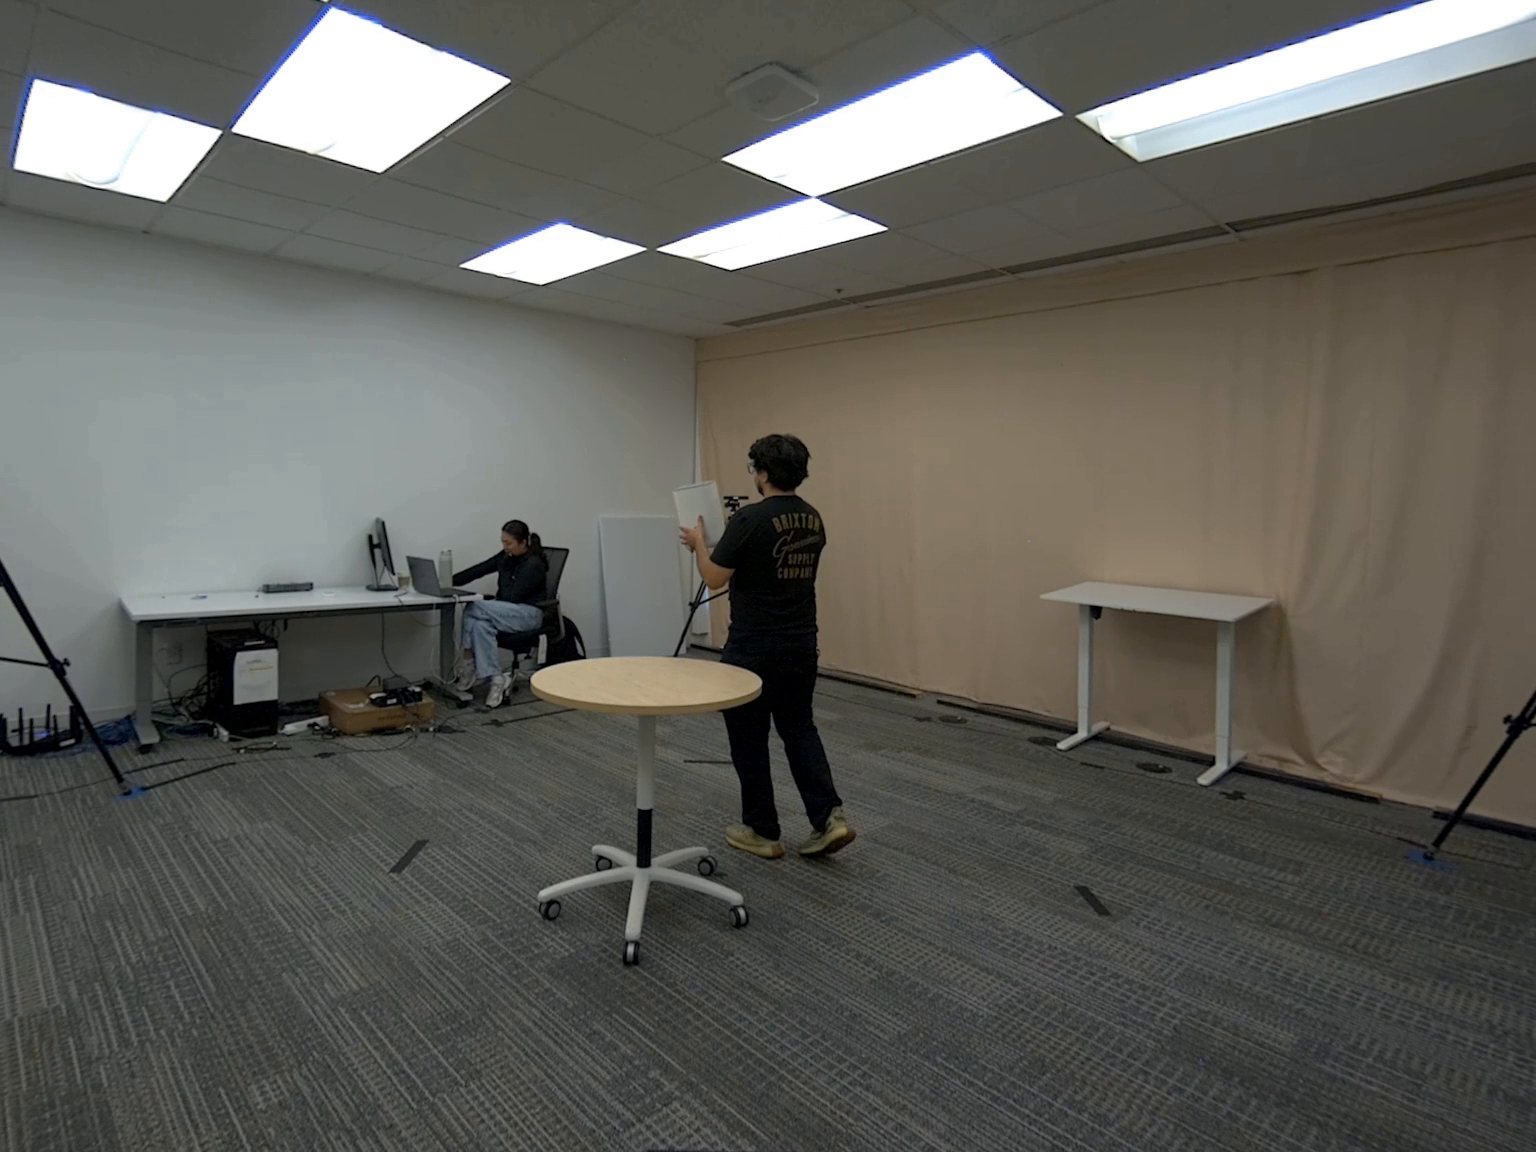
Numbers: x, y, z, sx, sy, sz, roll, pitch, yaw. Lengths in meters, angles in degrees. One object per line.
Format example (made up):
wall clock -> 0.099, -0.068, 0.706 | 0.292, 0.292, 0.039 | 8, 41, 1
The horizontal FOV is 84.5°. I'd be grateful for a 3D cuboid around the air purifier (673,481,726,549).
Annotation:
air purifier -> -0.281, -0.254, 3.538 | 0.172, 0.263, 0.172 | -9, 11, 5
